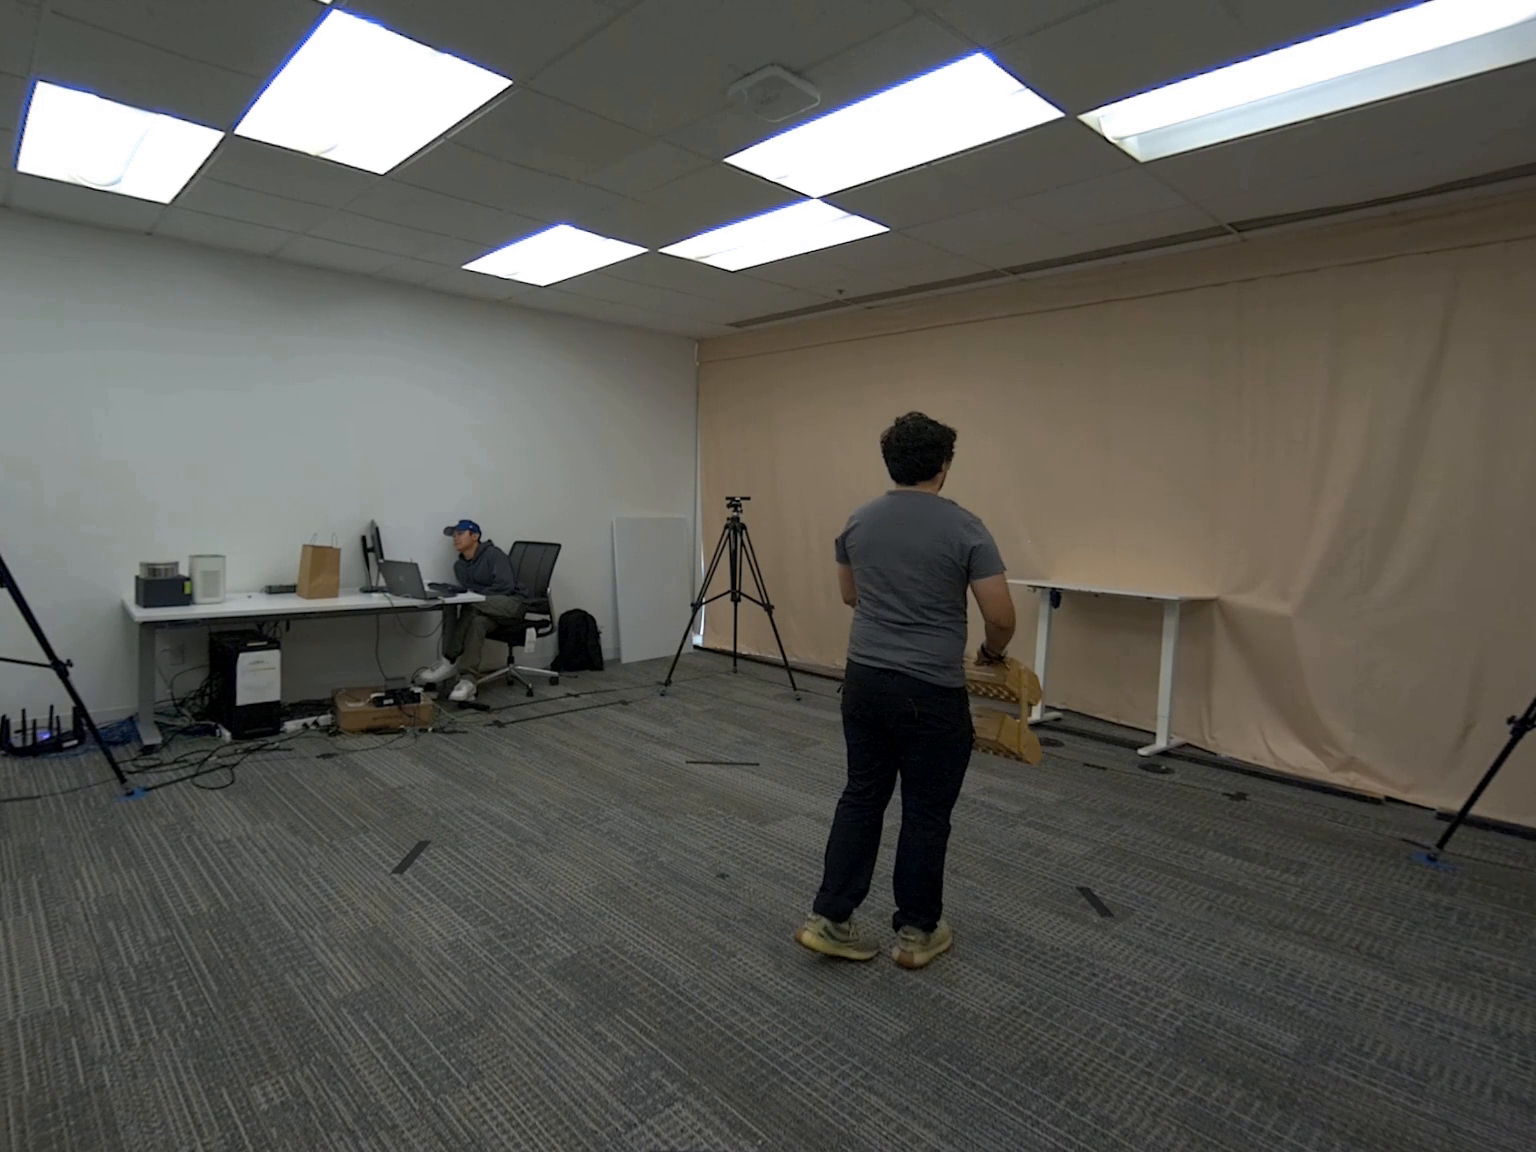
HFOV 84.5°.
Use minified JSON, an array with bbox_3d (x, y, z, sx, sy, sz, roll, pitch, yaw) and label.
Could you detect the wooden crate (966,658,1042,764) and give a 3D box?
[{"bbox_3d":[0.718,0.432,2.800,0.293,0.275,0.332,33,-18,-35],"label":"wooden crate"}]
